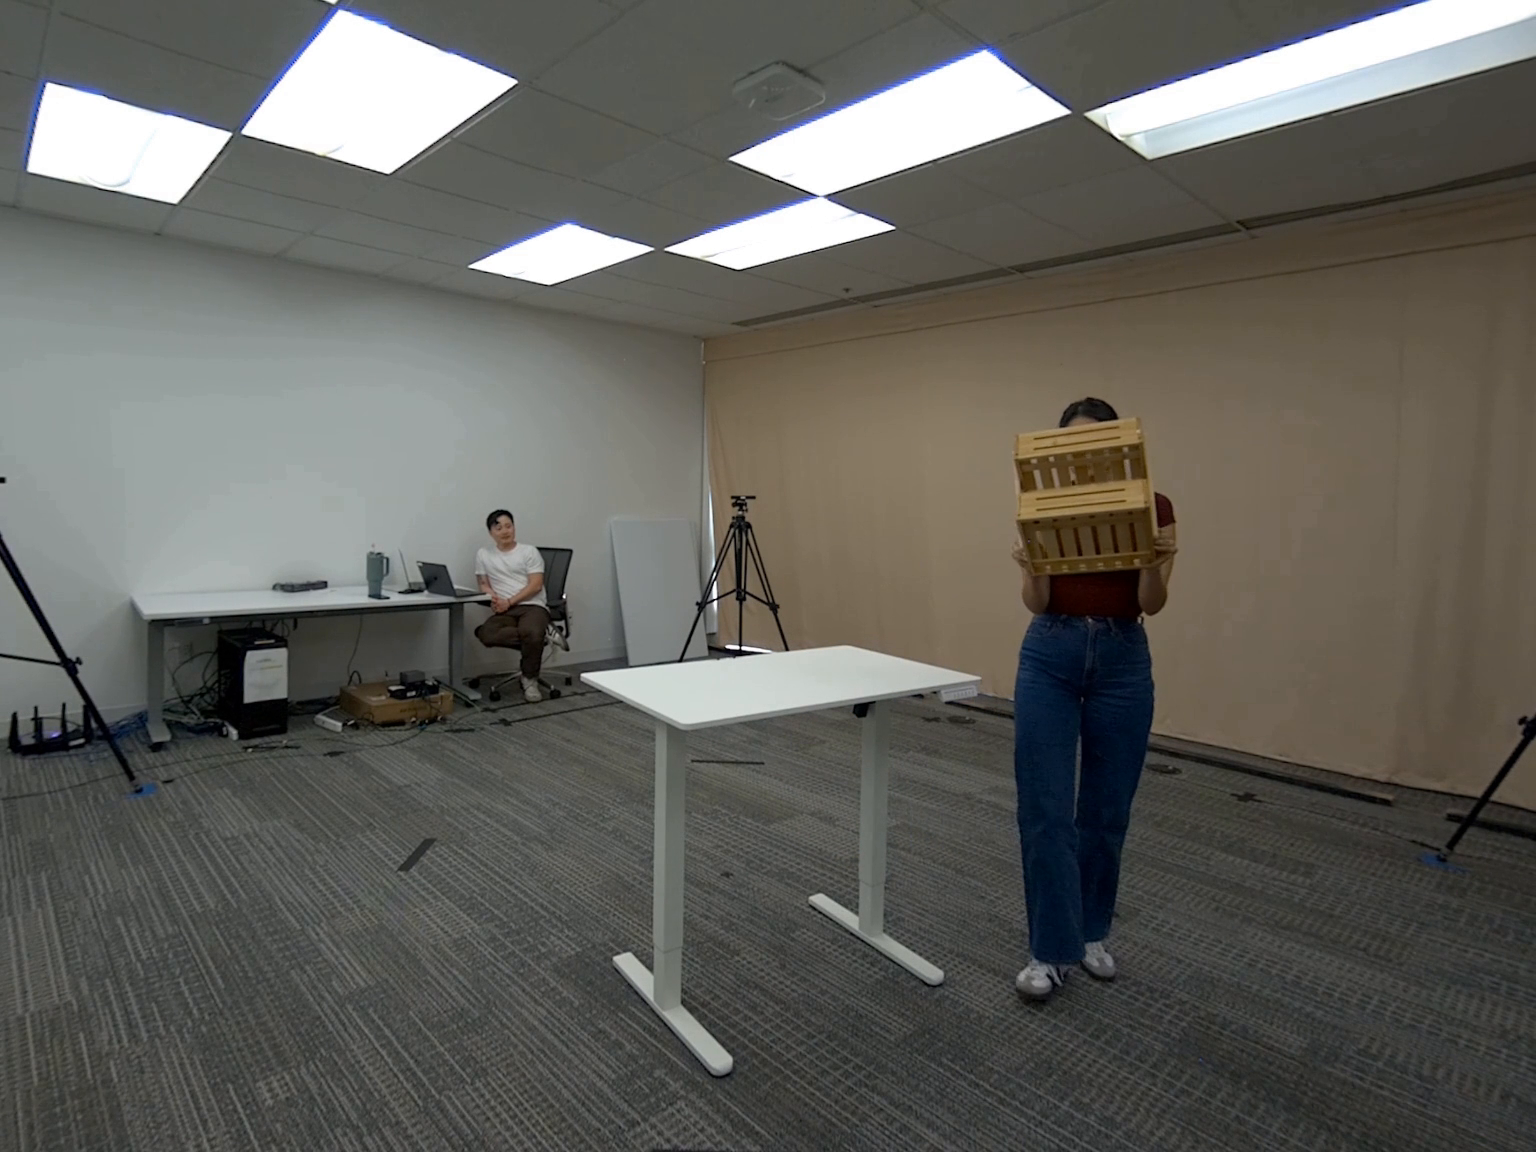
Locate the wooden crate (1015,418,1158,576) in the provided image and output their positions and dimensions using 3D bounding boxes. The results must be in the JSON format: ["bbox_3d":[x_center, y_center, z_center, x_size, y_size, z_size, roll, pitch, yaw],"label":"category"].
[{"bbox_3d":[0.817,-0.193,2.180,0.330,0.277,0.293,-5,-41,26],"label":"wooden crate"}]
